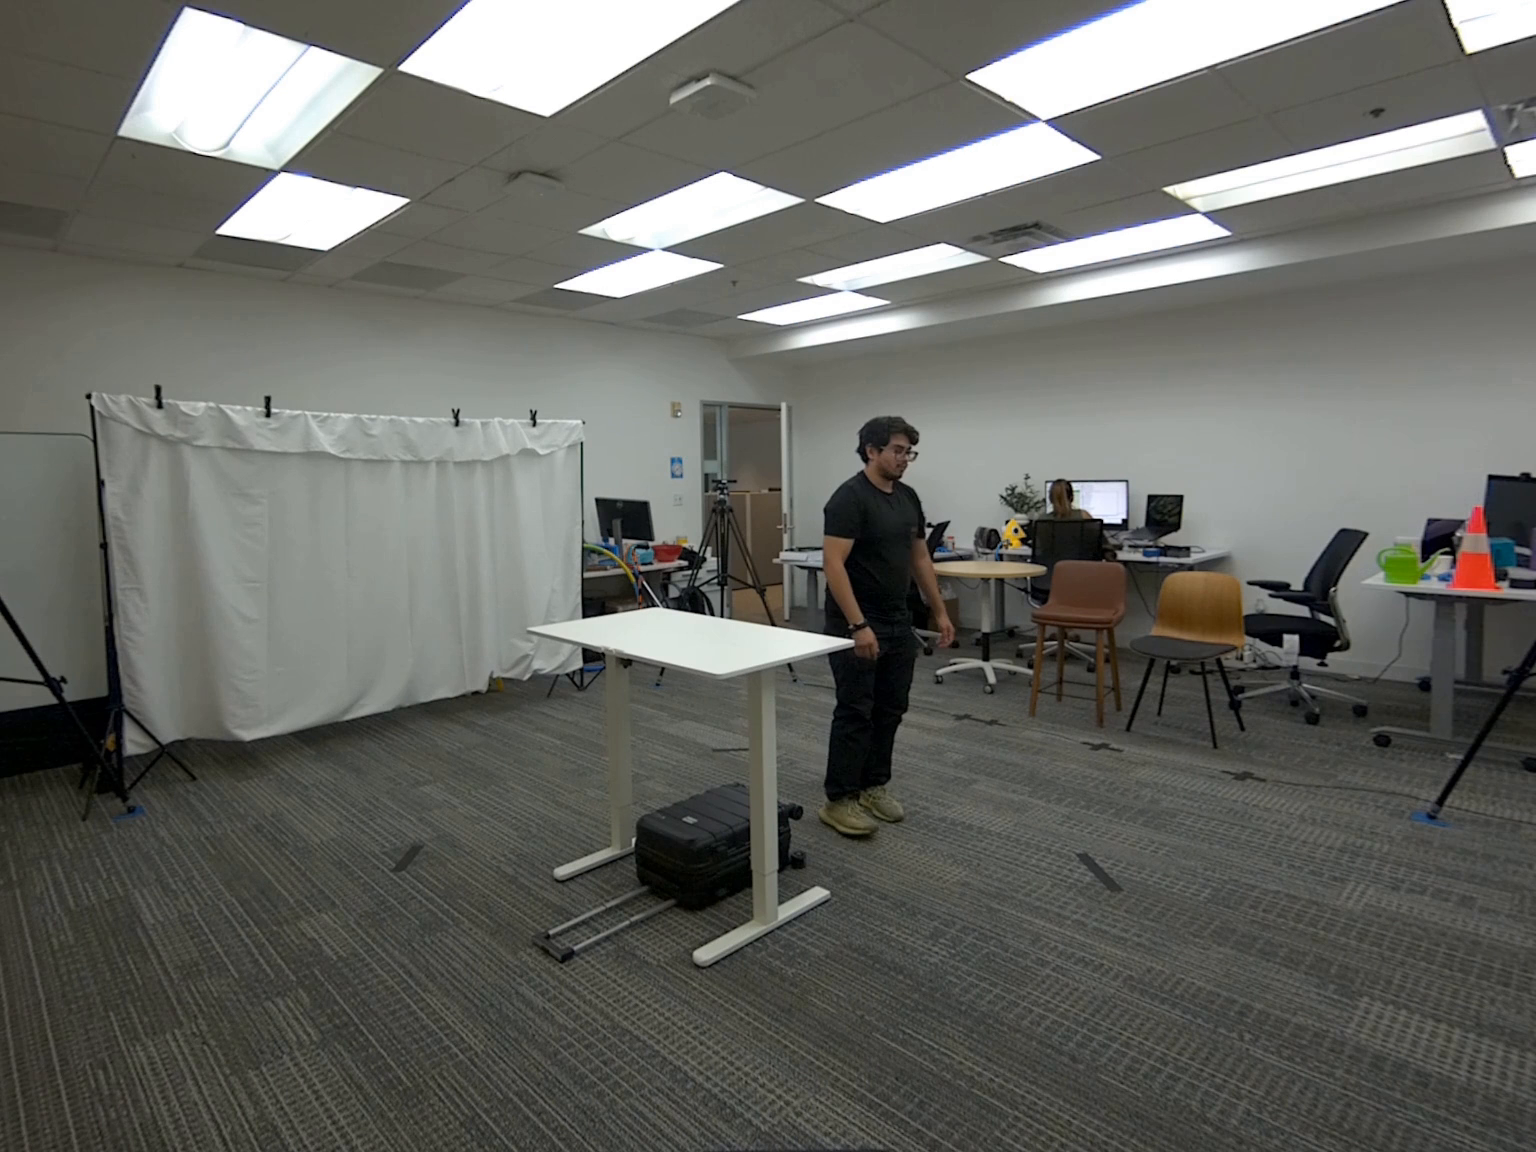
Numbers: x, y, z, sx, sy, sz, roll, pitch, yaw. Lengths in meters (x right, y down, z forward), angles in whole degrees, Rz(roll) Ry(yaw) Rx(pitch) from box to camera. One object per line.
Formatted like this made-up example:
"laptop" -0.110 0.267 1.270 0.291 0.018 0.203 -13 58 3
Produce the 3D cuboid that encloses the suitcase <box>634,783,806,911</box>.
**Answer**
"suitcase" -0.318 0.956 2.877 0.396 0.256 0.952 6 8 44
